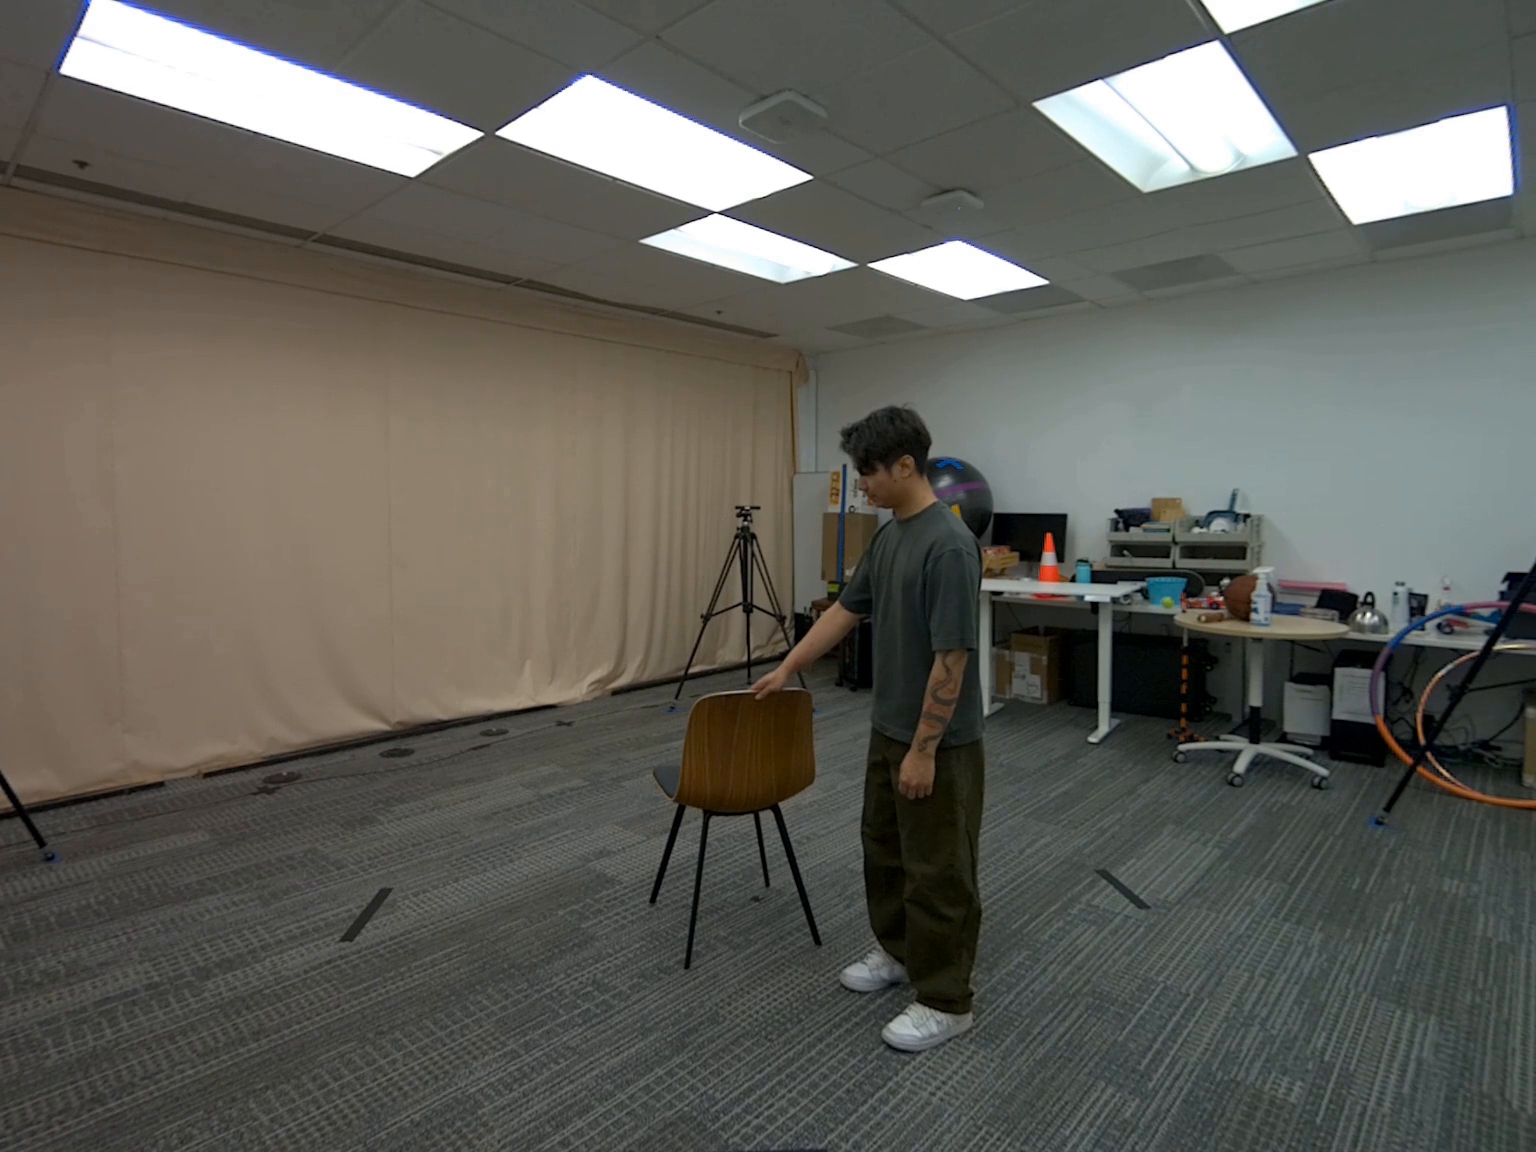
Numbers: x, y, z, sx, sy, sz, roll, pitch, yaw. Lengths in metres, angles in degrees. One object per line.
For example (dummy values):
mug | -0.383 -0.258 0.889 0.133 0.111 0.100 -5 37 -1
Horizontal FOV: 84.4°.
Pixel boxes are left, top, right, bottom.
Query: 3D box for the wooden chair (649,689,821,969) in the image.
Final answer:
wooden chair | -0.123 0.735 2.788 0.469 0.873 0.536 -2 8 -20
